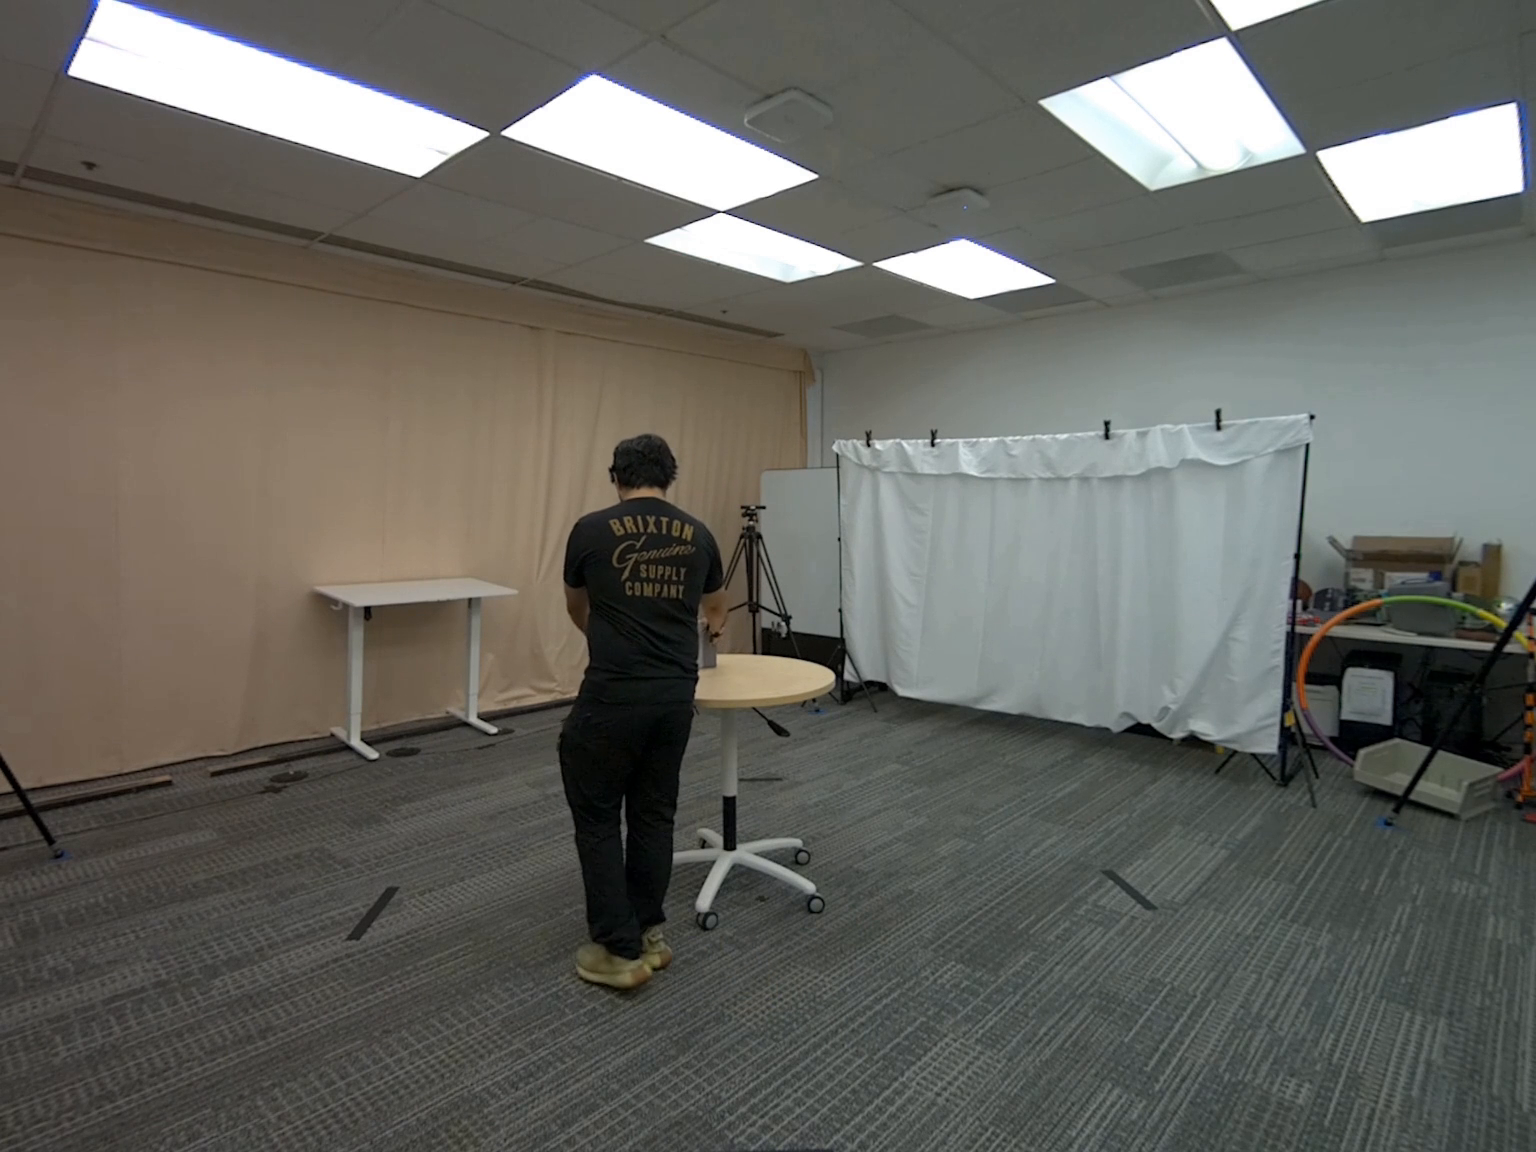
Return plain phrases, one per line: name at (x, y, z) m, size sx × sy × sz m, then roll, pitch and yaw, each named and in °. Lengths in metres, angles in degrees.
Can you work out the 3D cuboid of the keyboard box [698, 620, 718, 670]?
keyboard box at (-0.402, 0.267, 3.103) m, size 0.427 × 0.175 × 0.060 m, roll -2°, pitch 5°, yaw -21°
